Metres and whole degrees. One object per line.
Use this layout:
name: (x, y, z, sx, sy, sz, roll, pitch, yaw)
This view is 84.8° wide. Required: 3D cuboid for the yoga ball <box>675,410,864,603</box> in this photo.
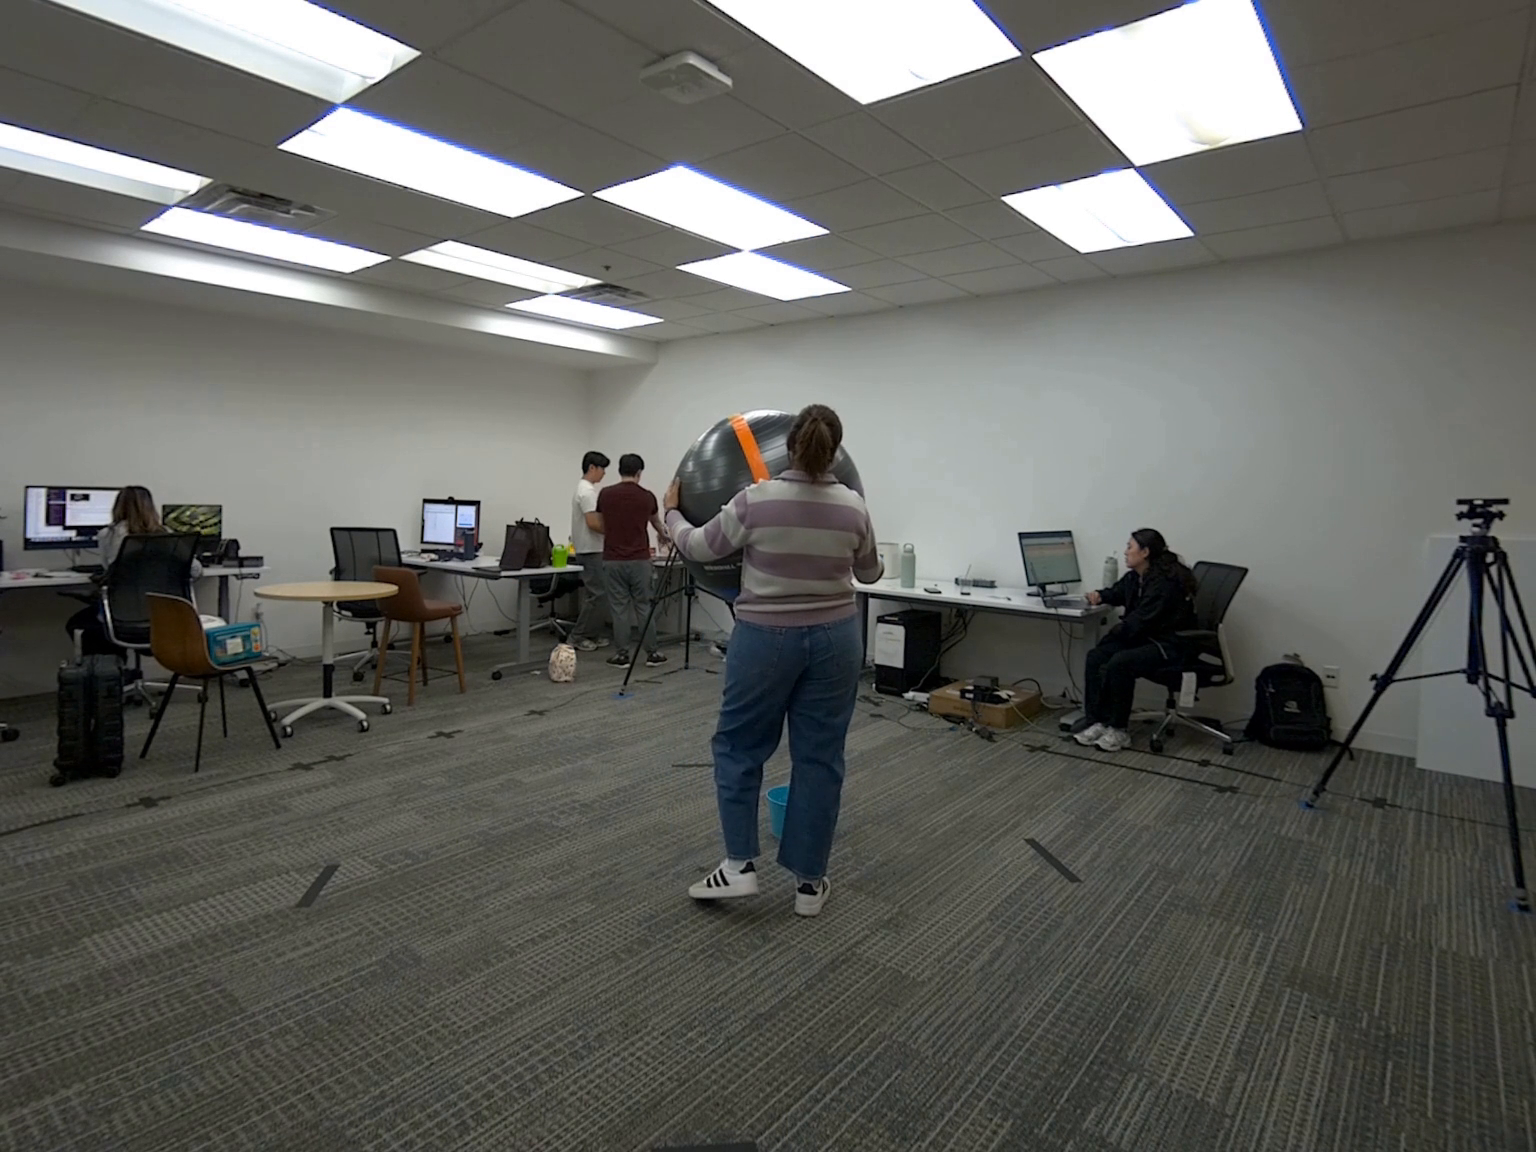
yoga ball: (-0.017, -0.255, 3.275, 0.757, 0.756, 0.761, 1, 4, -2)
